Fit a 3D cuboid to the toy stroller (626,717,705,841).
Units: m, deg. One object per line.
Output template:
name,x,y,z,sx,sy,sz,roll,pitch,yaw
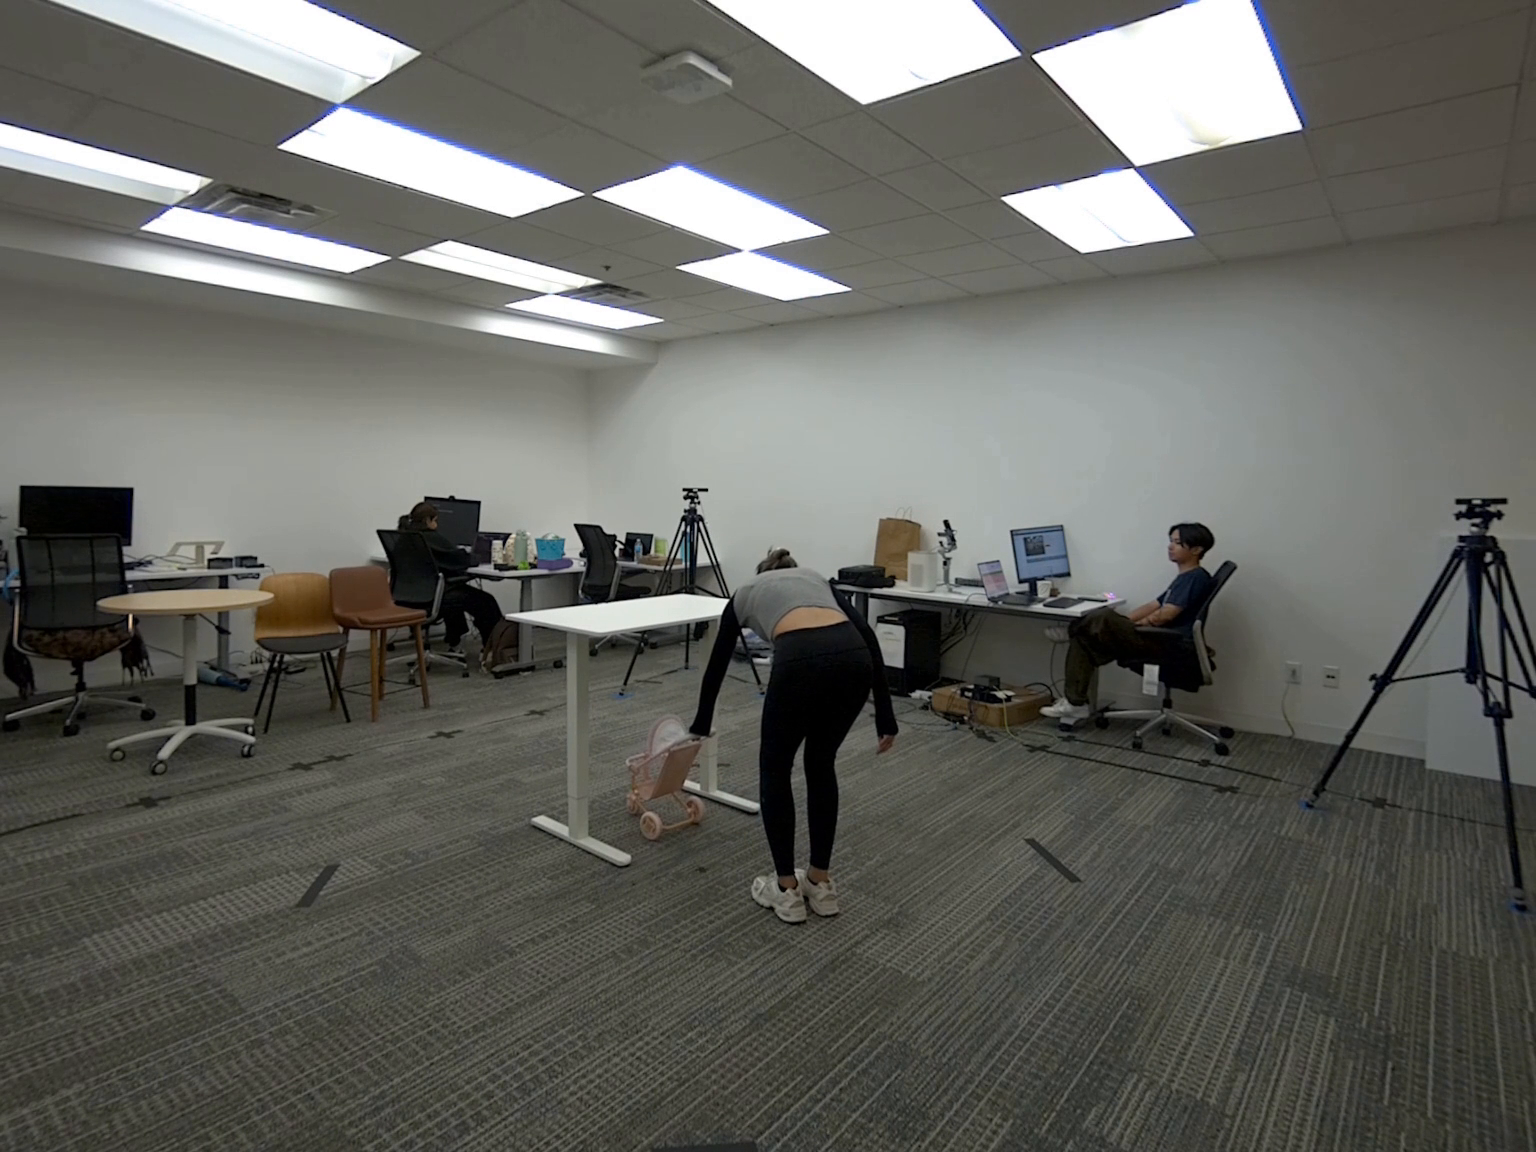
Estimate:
toy stroller,-0.435,0.801,3.492,0.273,0.530,0.355,-2,19,-44
